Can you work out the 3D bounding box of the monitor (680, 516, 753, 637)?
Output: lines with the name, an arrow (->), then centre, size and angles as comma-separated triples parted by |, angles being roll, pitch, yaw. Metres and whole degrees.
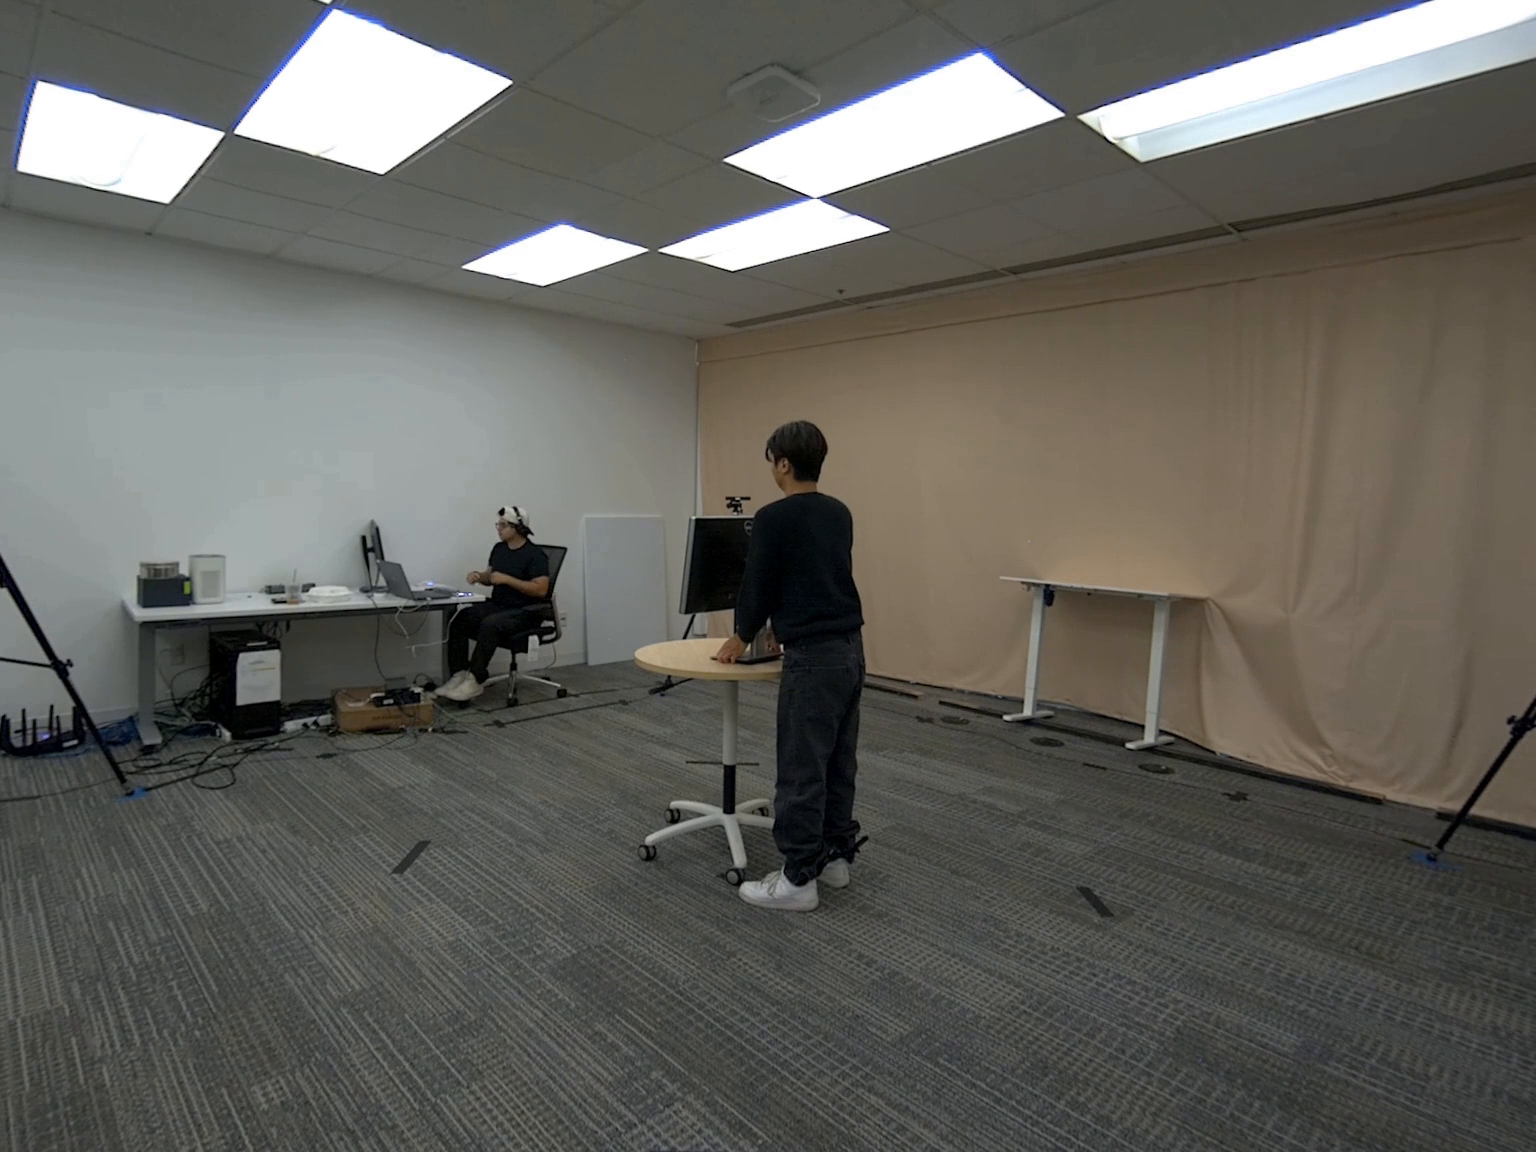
monitor -> -0.088, 0.043, 3.222 | 0.191, 0.522, 0.527 | -2, 1, 41
